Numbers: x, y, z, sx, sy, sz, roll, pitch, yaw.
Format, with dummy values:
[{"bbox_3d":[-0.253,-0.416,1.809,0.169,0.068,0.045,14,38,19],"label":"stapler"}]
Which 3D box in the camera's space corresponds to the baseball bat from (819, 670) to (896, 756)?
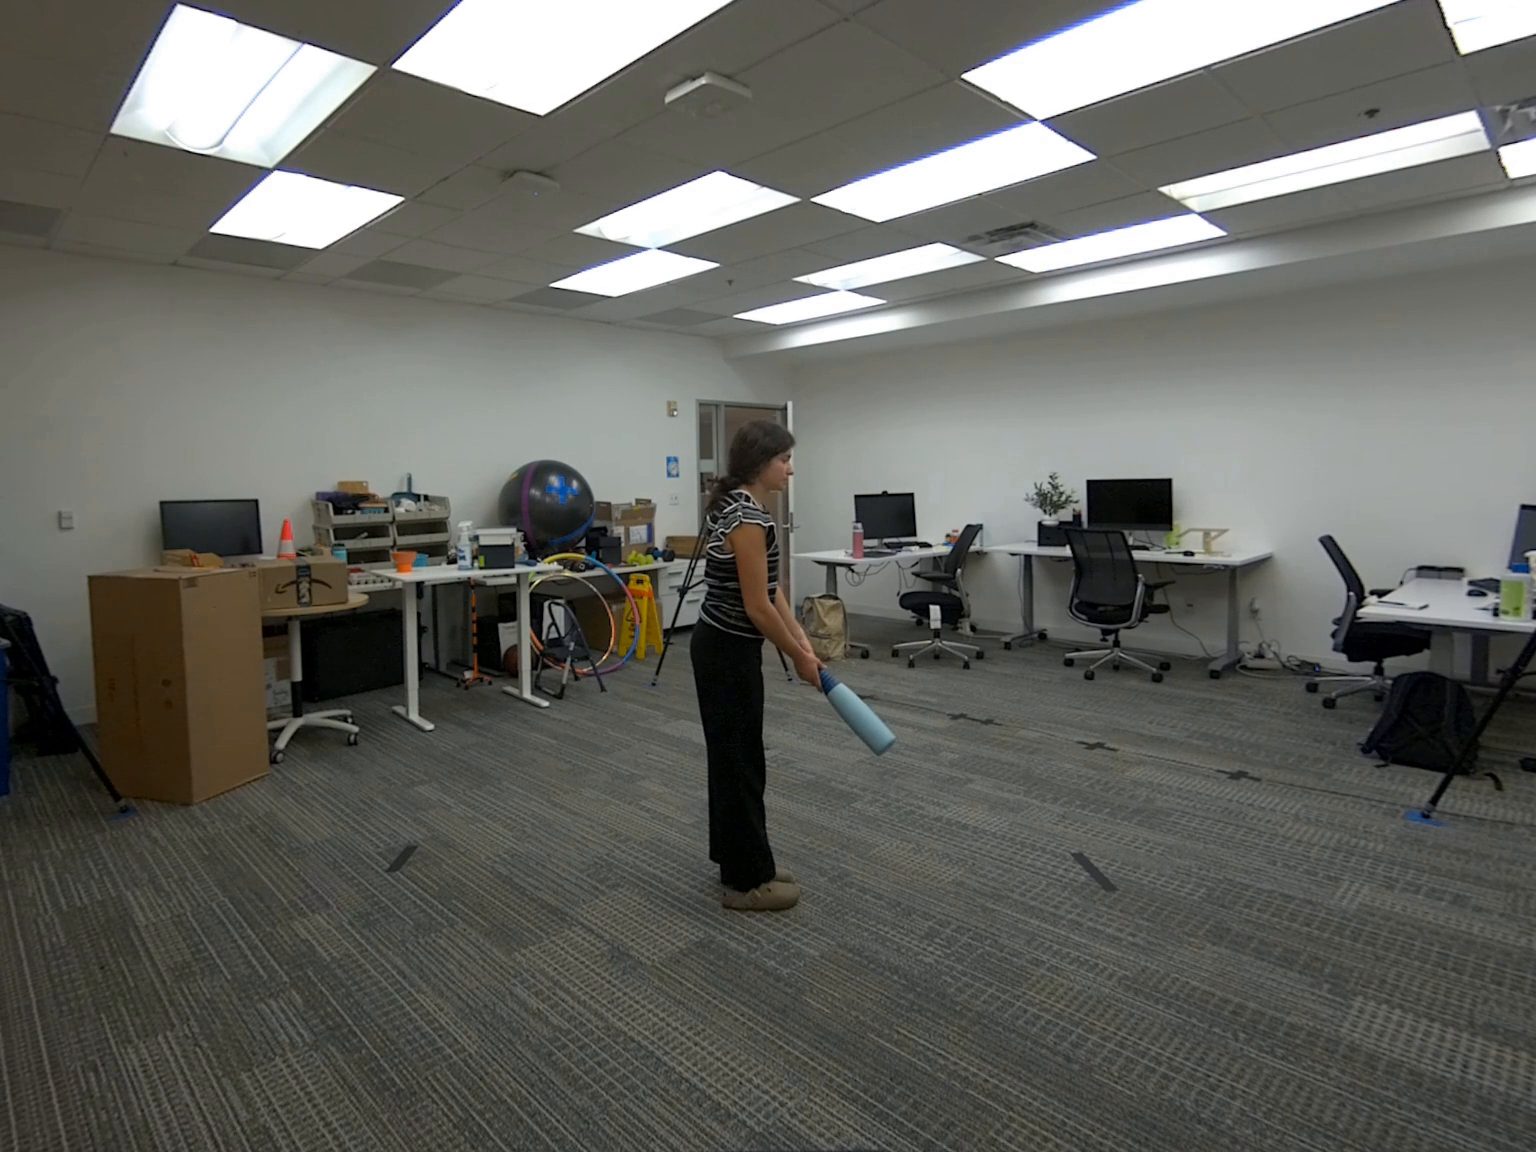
[{"bbox_3d":[0.204,0.352,2.804,0.560,0.088,0.087,45,27,24],"label":"baseball bat"}]
